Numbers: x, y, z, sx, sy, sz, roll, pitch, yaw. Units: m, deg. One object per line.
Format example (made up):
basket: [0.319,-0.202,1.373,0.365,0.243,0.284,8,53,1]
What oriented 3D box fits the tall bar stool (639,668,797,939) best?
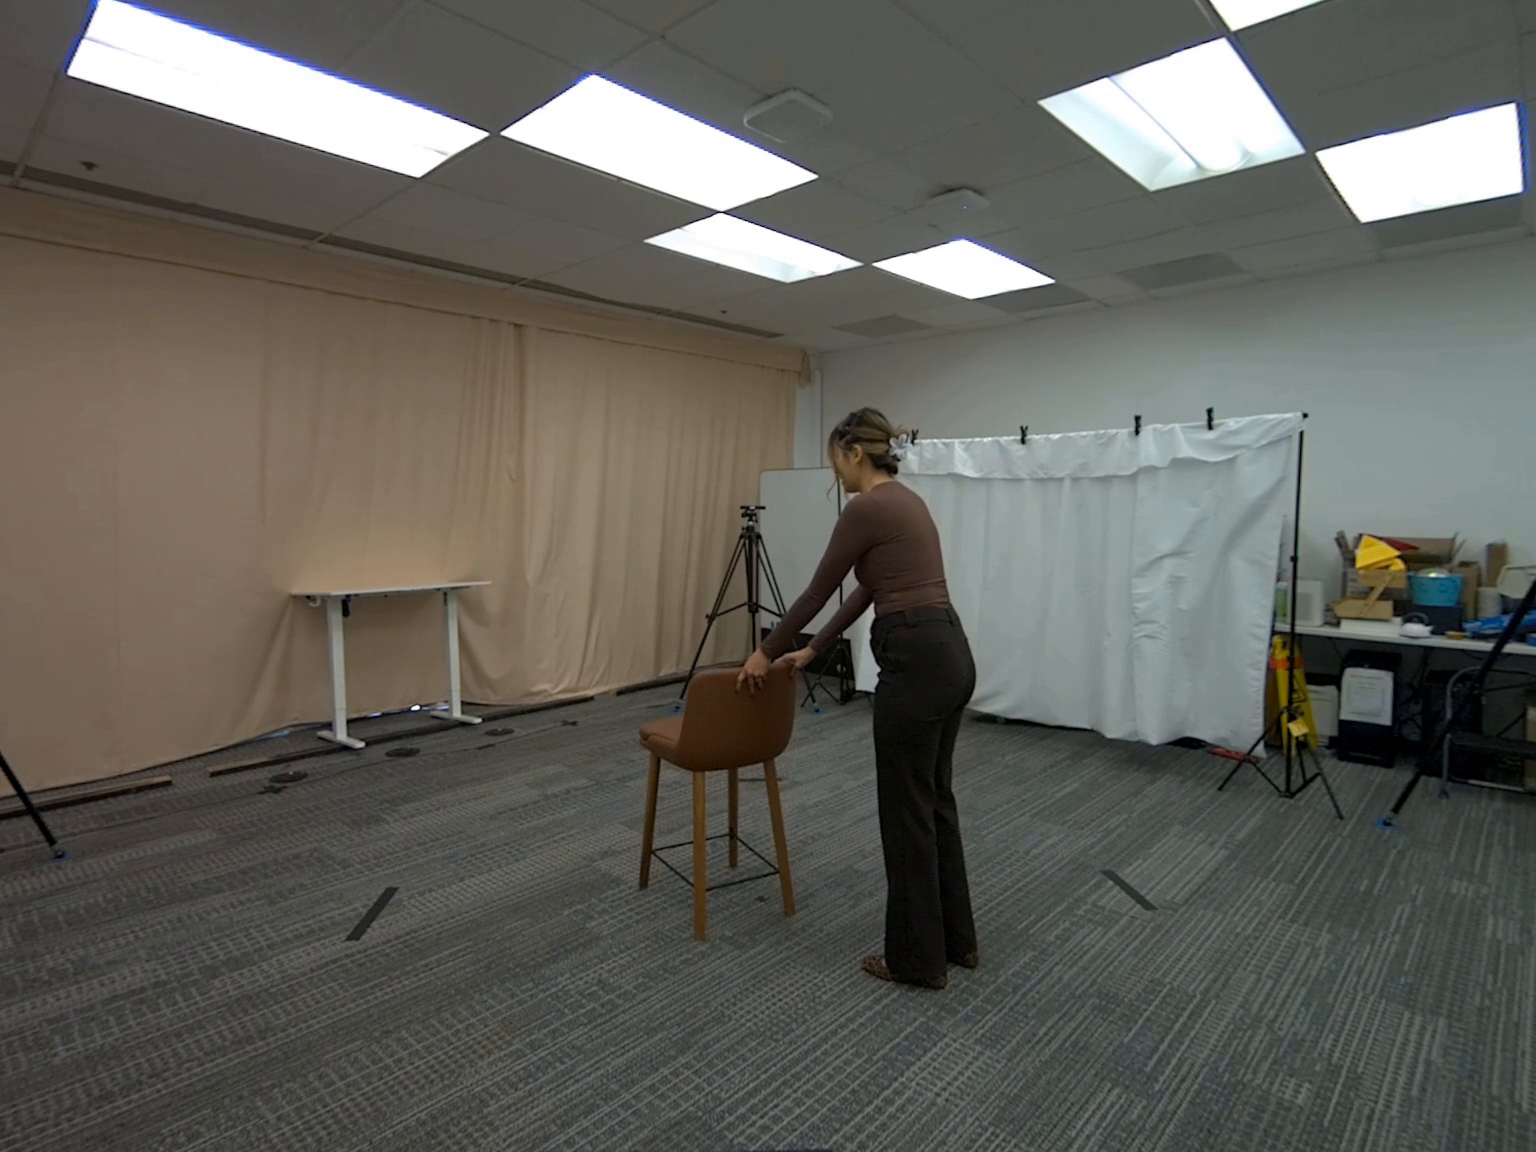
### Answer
tall bar stool: [-0.173,0.711,2.946,0.444,0.887,0.482,-2,6,-31]
